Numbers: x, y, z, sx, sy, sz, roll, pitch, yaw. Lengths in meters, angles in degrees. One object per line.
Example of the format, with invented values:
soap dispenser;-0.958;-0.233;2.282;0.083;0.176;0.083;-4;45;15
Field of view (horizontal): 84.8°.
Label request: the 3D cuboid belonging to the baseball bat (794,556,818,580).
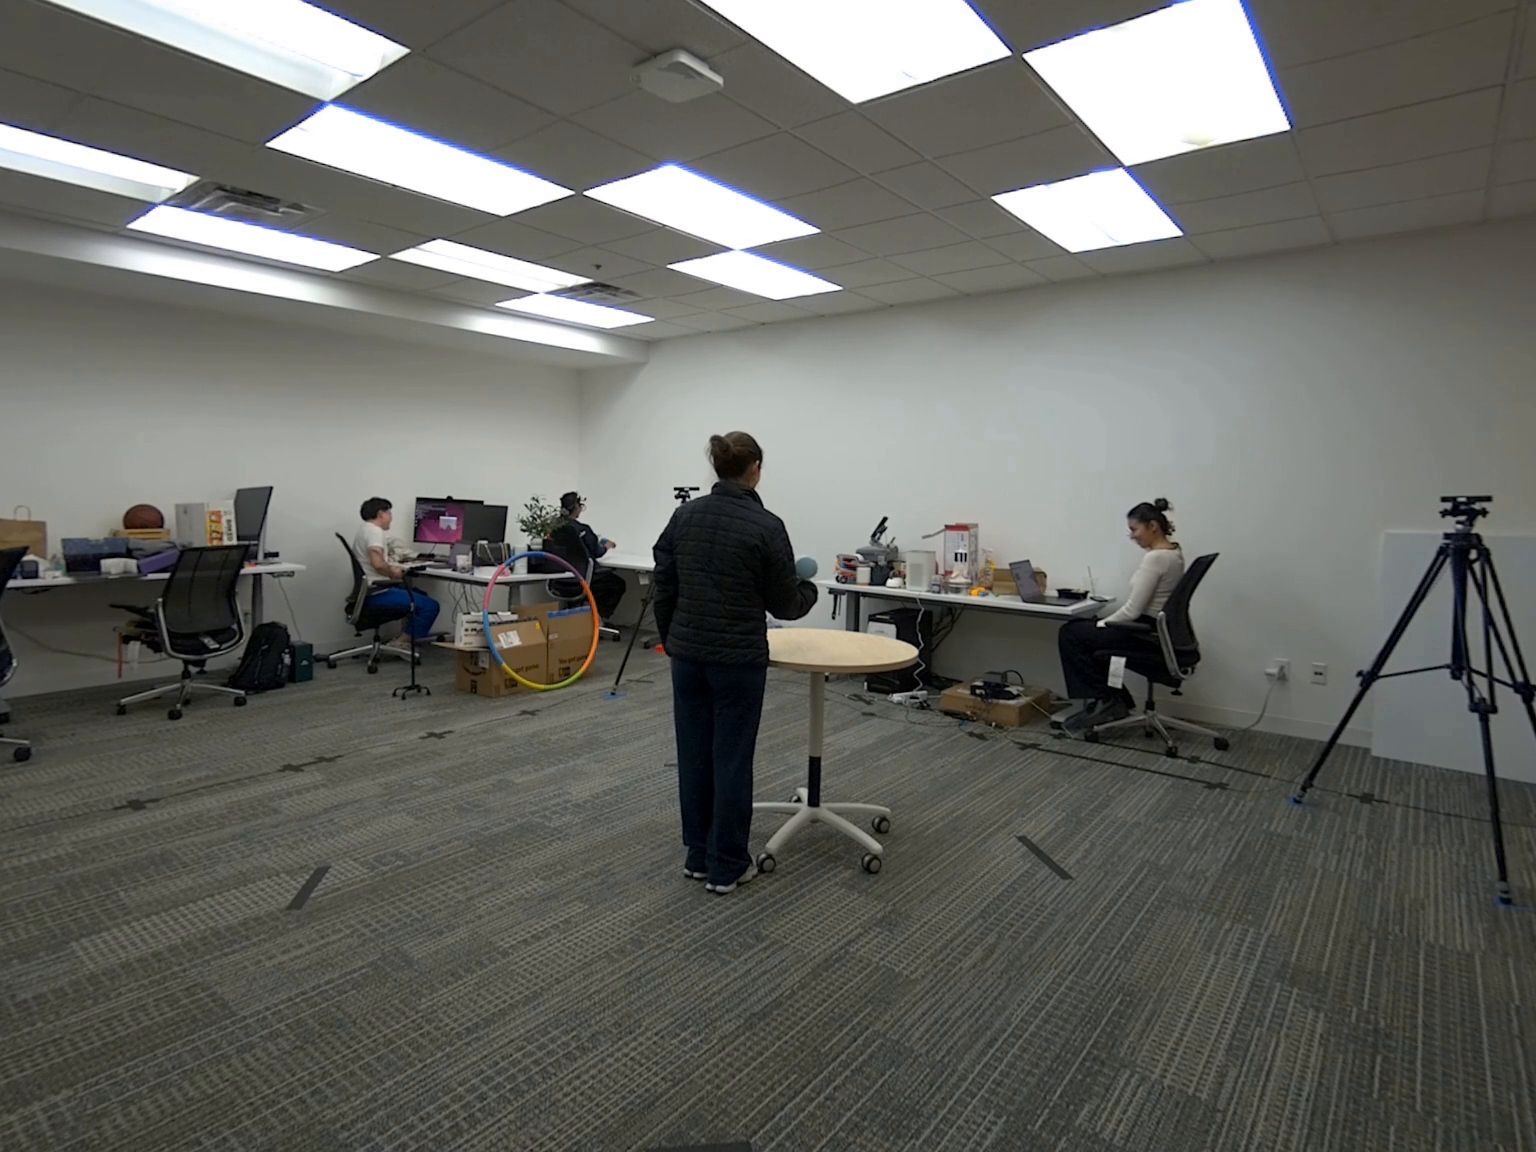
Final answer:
baseball bat;0.136;-0.037;3.297;0.089;0.089;0.544;1;1;-4
